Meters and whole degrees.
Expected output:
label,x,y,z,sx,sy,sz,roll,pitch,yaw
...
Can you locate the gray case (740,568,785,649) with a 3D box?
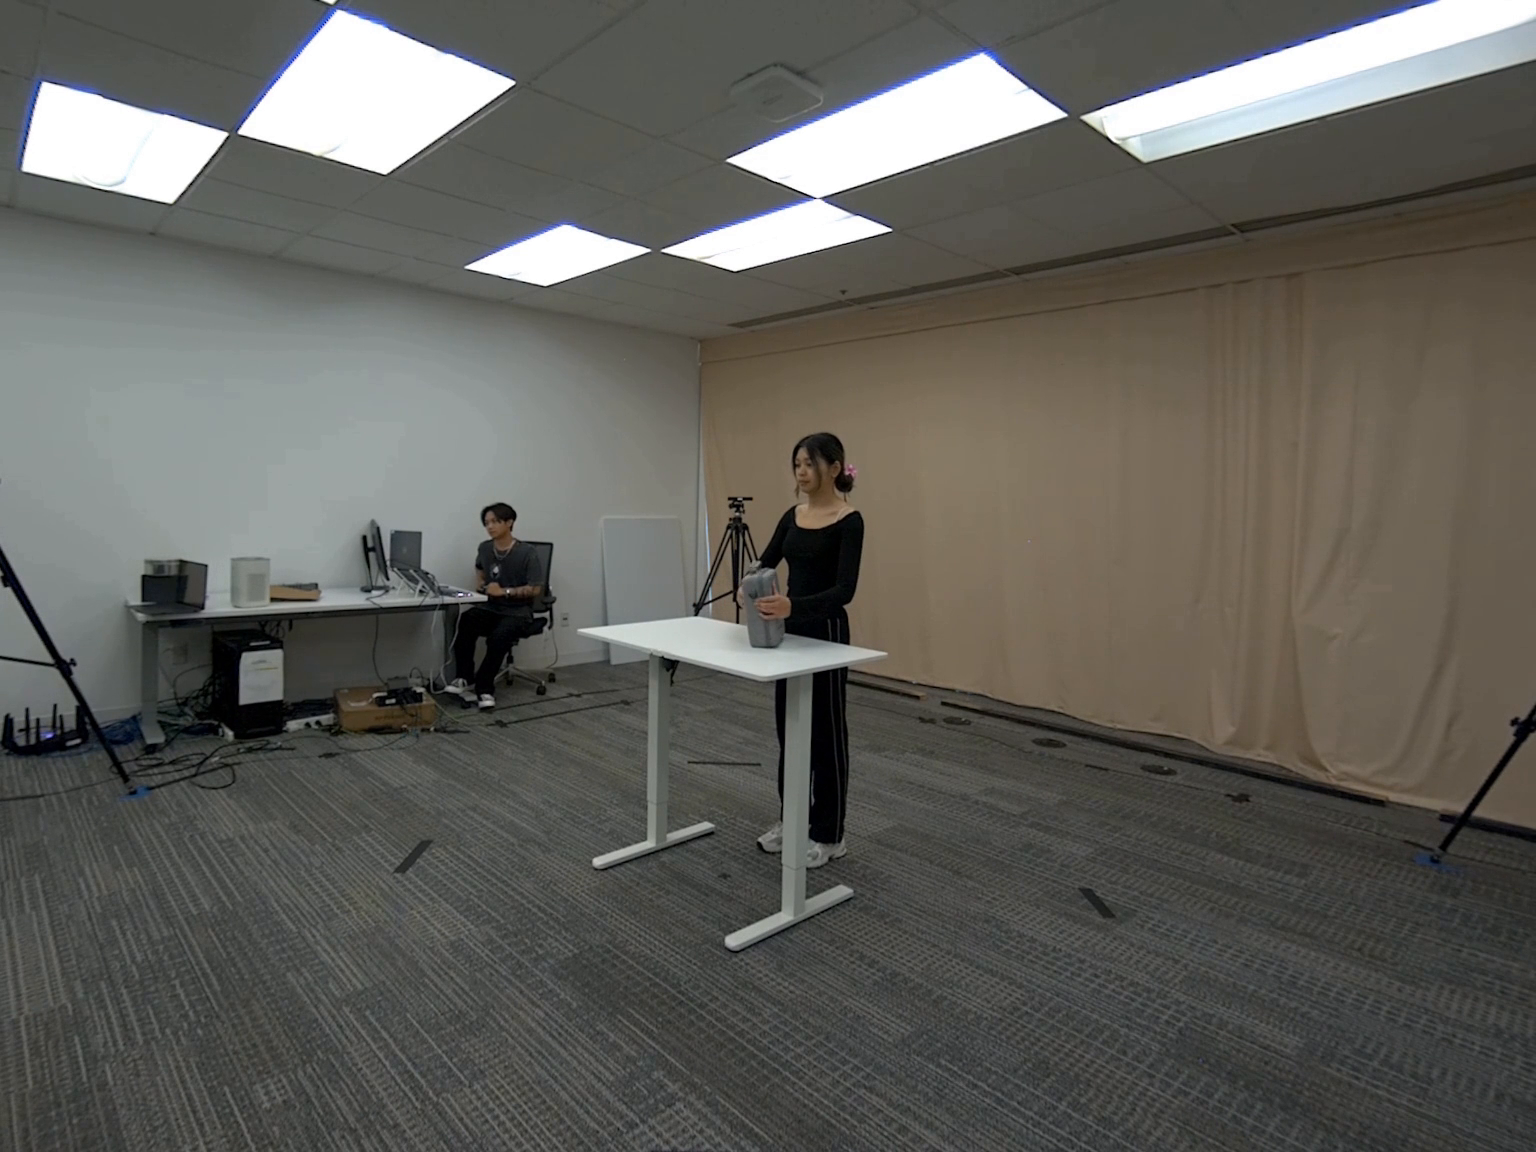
label,x,y,z,sx,sy,sz,roll,pitch,yaw
gray case,-0.024,0.110,2.982,0.105,0.260,0.256,-6,4,8
